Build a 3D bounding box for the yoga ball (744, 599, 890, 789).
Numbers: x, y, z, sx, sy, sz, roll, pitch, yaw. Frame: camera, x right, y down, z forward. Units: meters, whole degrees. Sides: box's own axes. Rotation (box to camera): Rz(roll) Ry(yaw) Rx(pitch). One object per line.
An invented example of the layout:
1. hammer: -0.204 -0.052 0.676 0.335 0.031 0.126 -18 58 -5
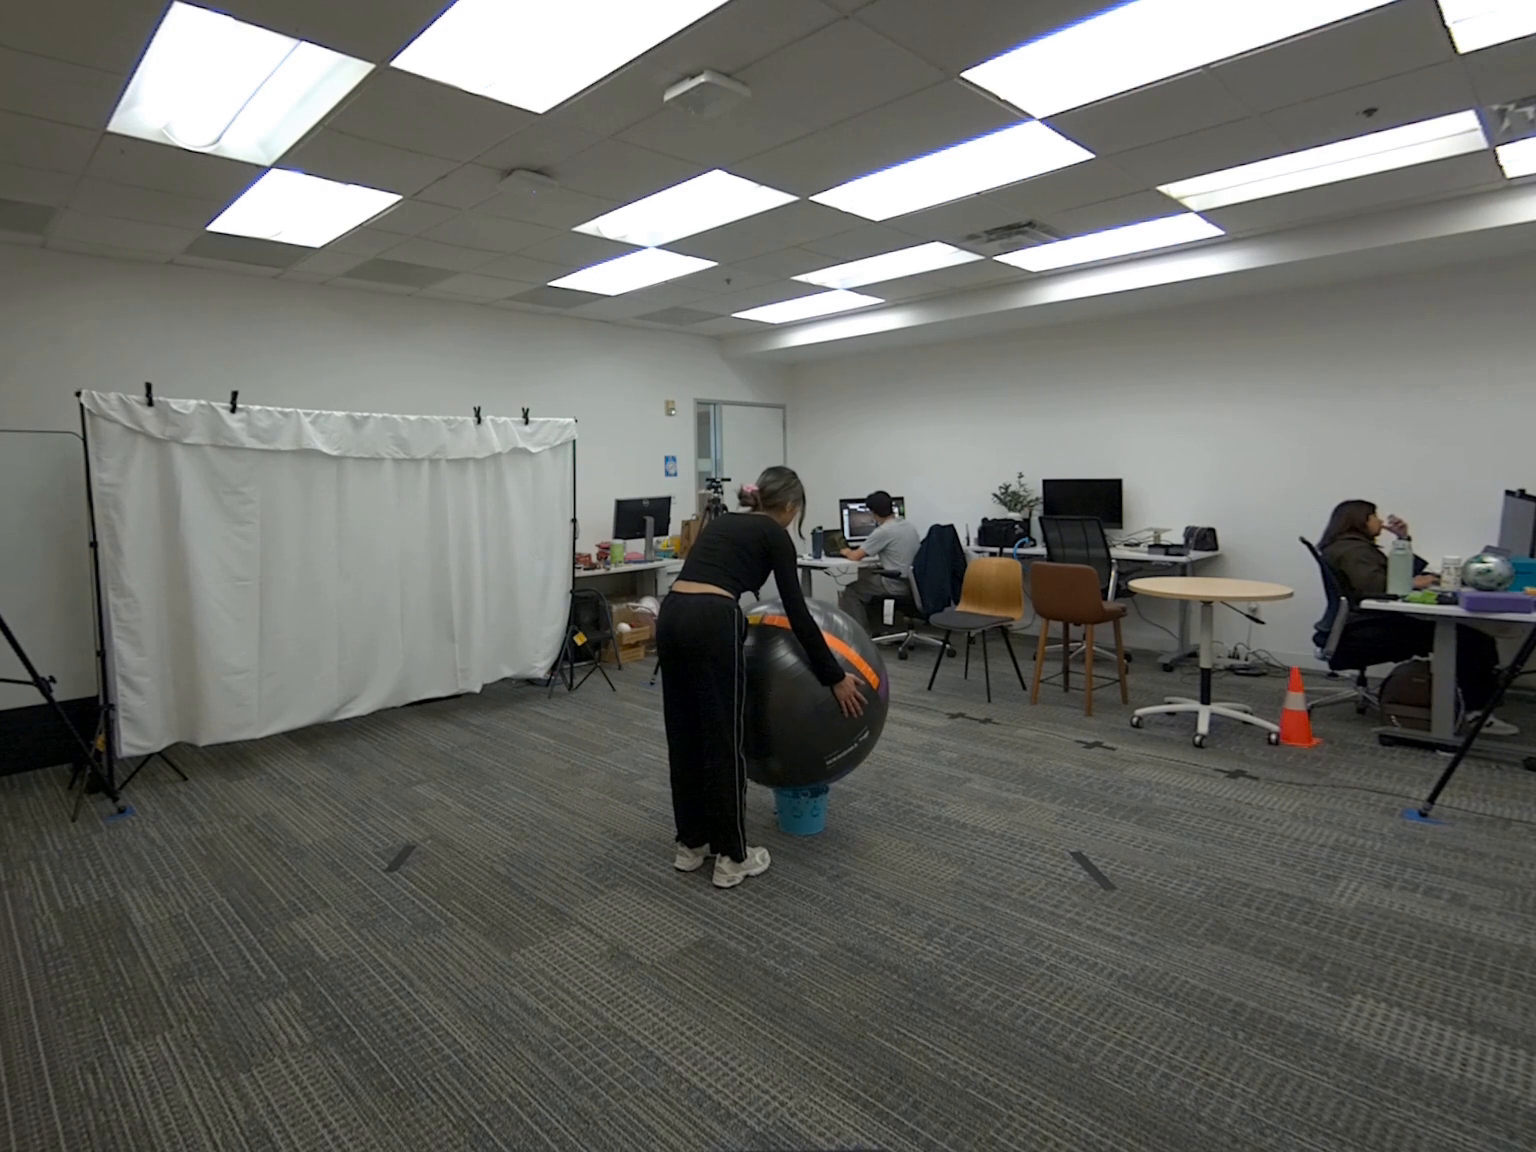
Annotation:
1. yoga ball: 0.096 0.455 3.397 0.757 0.755 0.762 -1 5 -2
